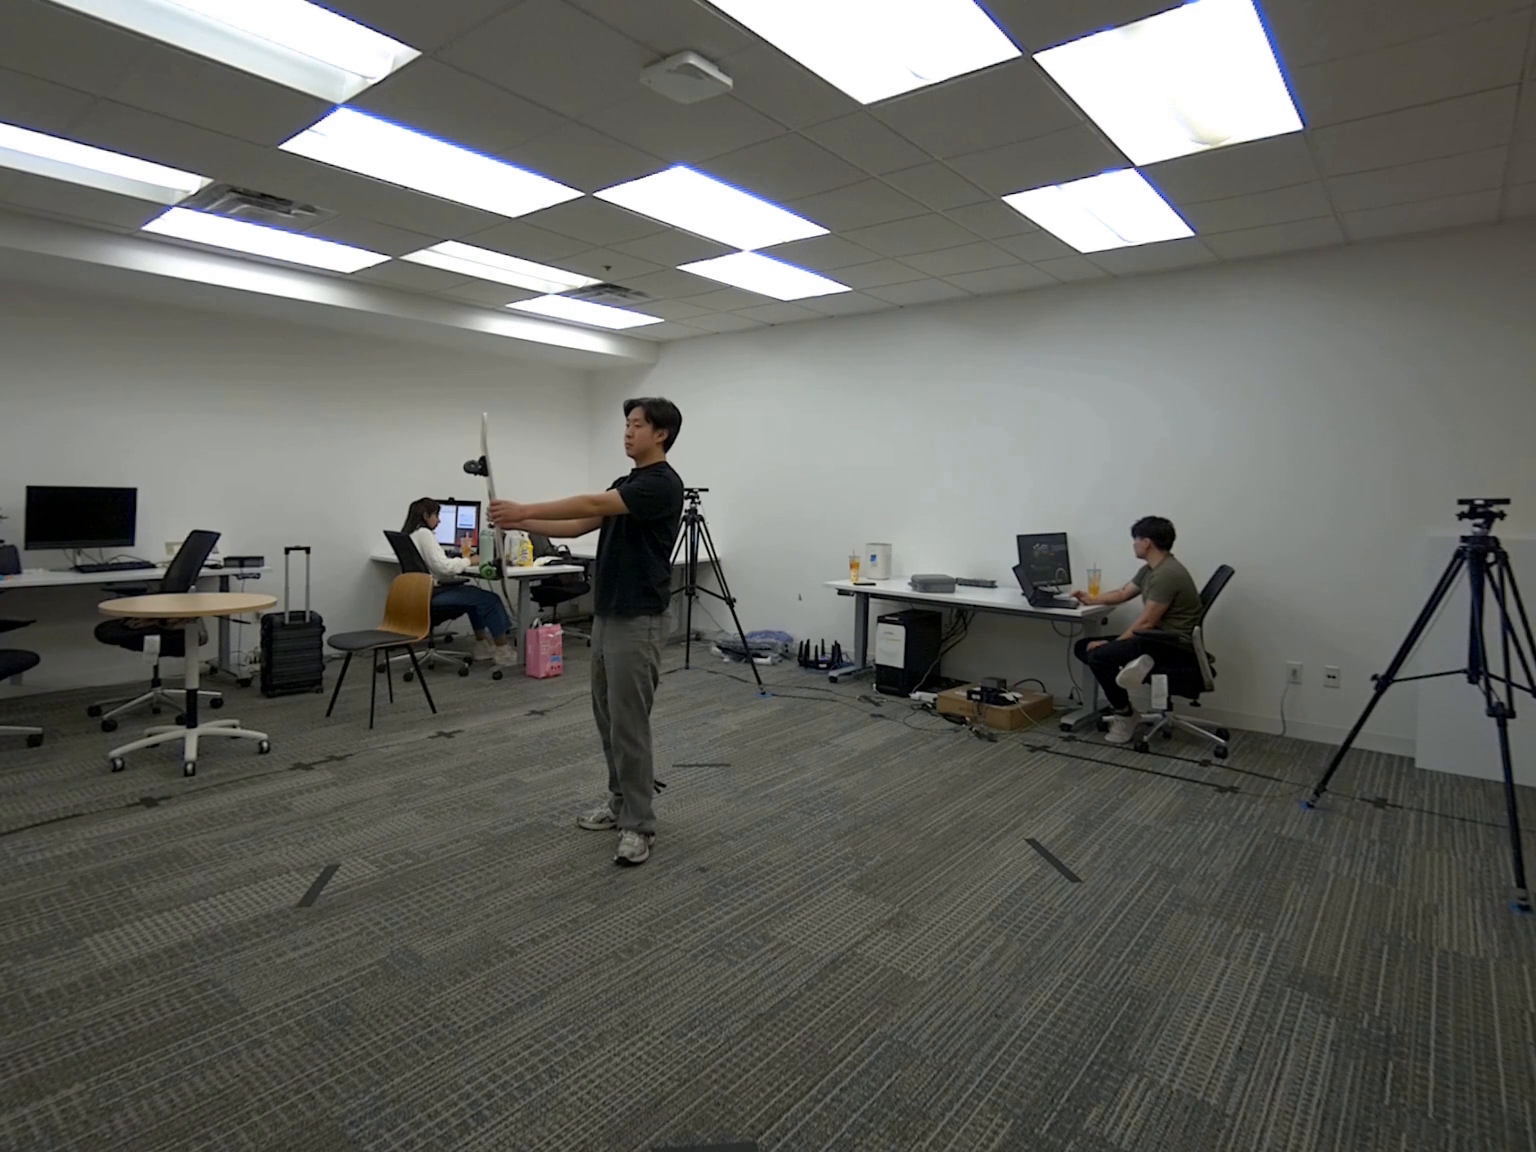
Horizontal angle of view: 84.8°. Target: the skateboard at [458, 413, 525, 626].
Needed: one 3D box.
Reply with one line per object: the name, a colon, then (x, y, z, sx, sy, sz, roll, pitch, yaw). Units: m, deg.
skateboard: (-1.063, -0.219, 3.222, 0.108, 0.781, 0.198, -10, 5, -19)
